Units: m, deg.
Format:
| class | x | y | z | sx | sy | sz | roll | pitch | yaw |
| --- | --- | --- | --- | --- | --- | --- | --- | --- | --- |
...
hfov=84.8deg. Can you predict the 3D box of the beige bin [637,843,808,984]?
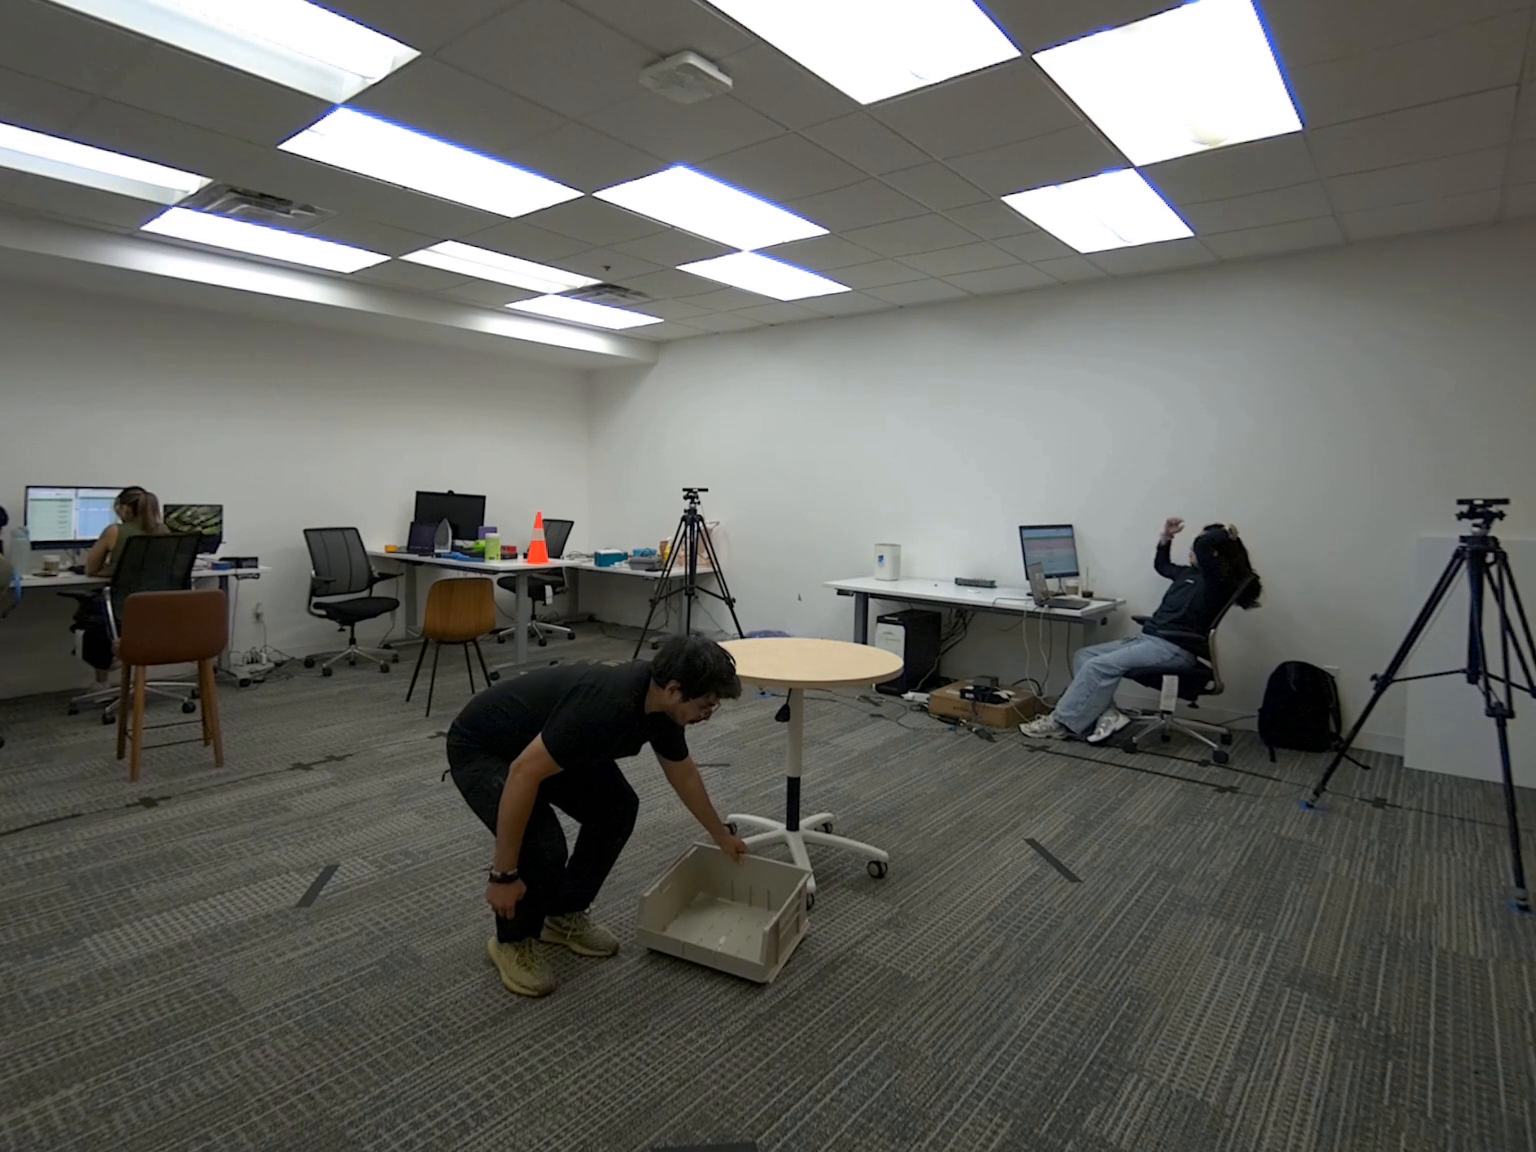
| class | x | y | z | sx | sy | sz | roll | pitch | yaw |
| --- | --- | --- | --- | --- | --- | --- | --- | --- | --- |
| beige bin | -0.132 | 1.025 | 2.606 | 0.433 | 0.188 | 0.371 | 4 | 9 | 23 |
